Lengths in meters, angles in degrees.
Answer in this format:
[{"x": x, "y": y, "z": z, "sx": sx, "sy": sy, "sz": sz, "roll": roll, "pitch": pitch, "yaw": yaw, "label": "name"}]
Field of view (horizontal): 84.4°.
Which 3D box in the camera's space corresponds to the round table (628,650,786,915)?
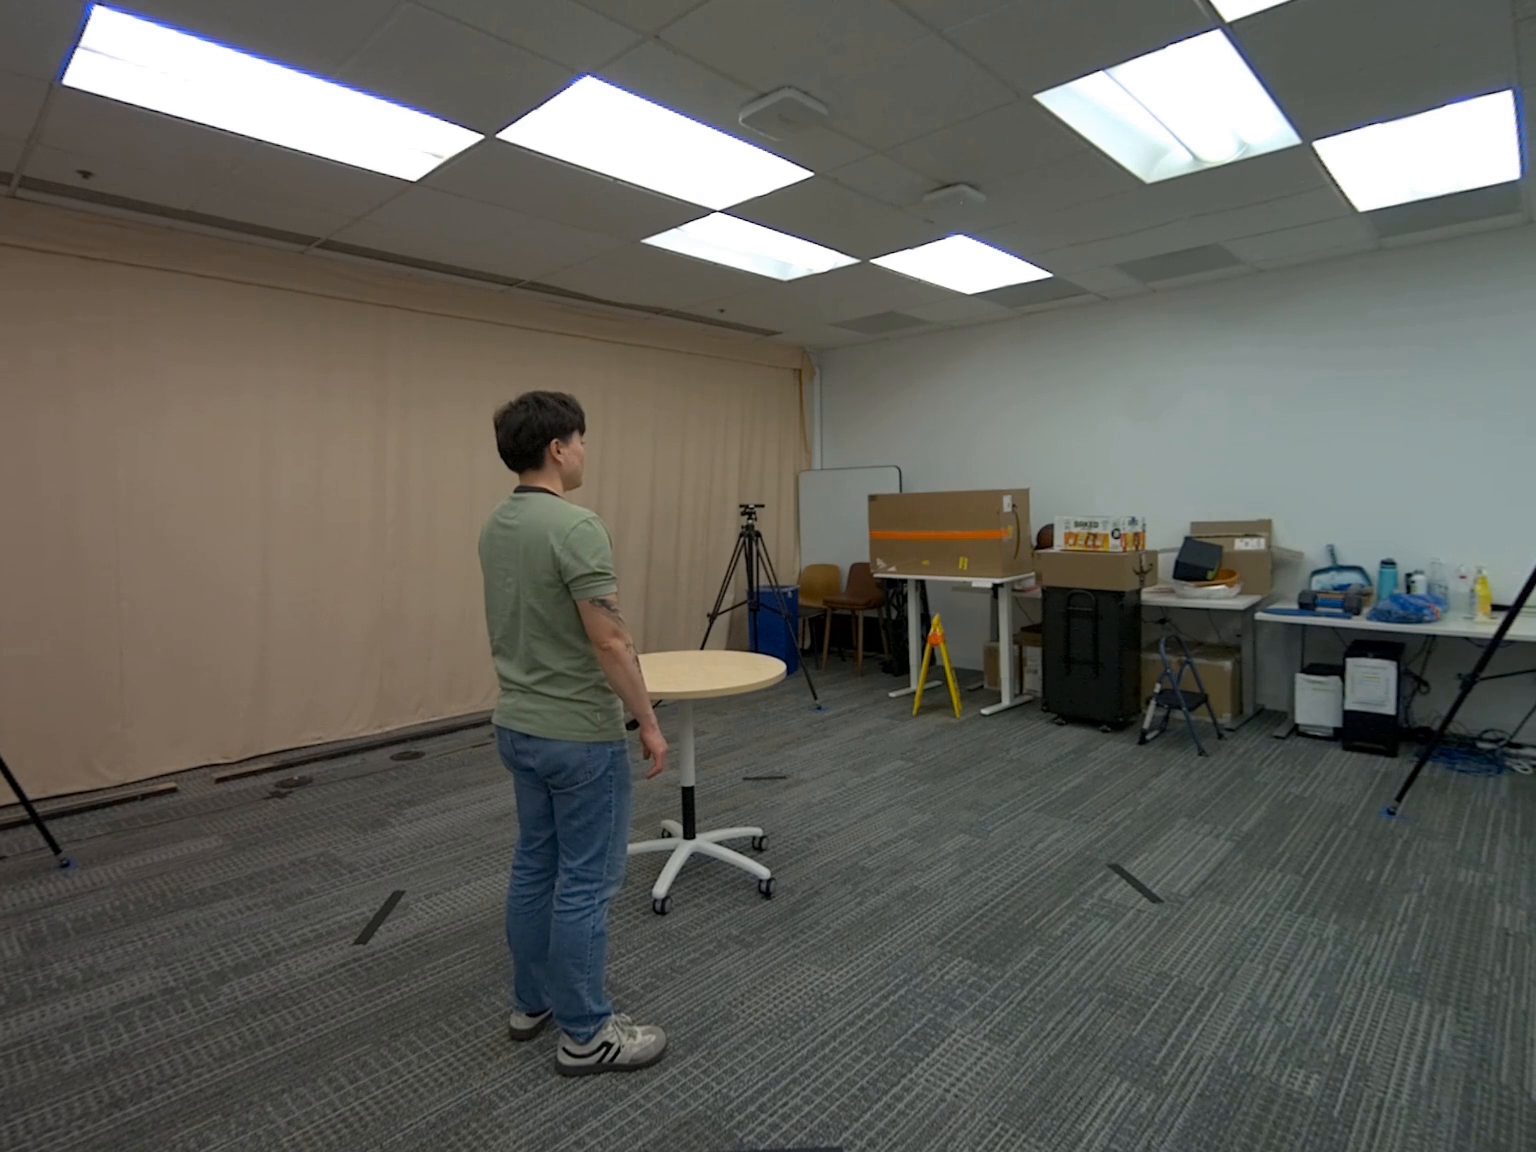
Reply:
[{"x": -0.295, "y": 0.740, "z": 3.164, "sx": 0.763, "sy": 0.792, "sz": 0.767, "roll": -2, "pitch": 4, "yaw": -2, "label": "round table"}]
